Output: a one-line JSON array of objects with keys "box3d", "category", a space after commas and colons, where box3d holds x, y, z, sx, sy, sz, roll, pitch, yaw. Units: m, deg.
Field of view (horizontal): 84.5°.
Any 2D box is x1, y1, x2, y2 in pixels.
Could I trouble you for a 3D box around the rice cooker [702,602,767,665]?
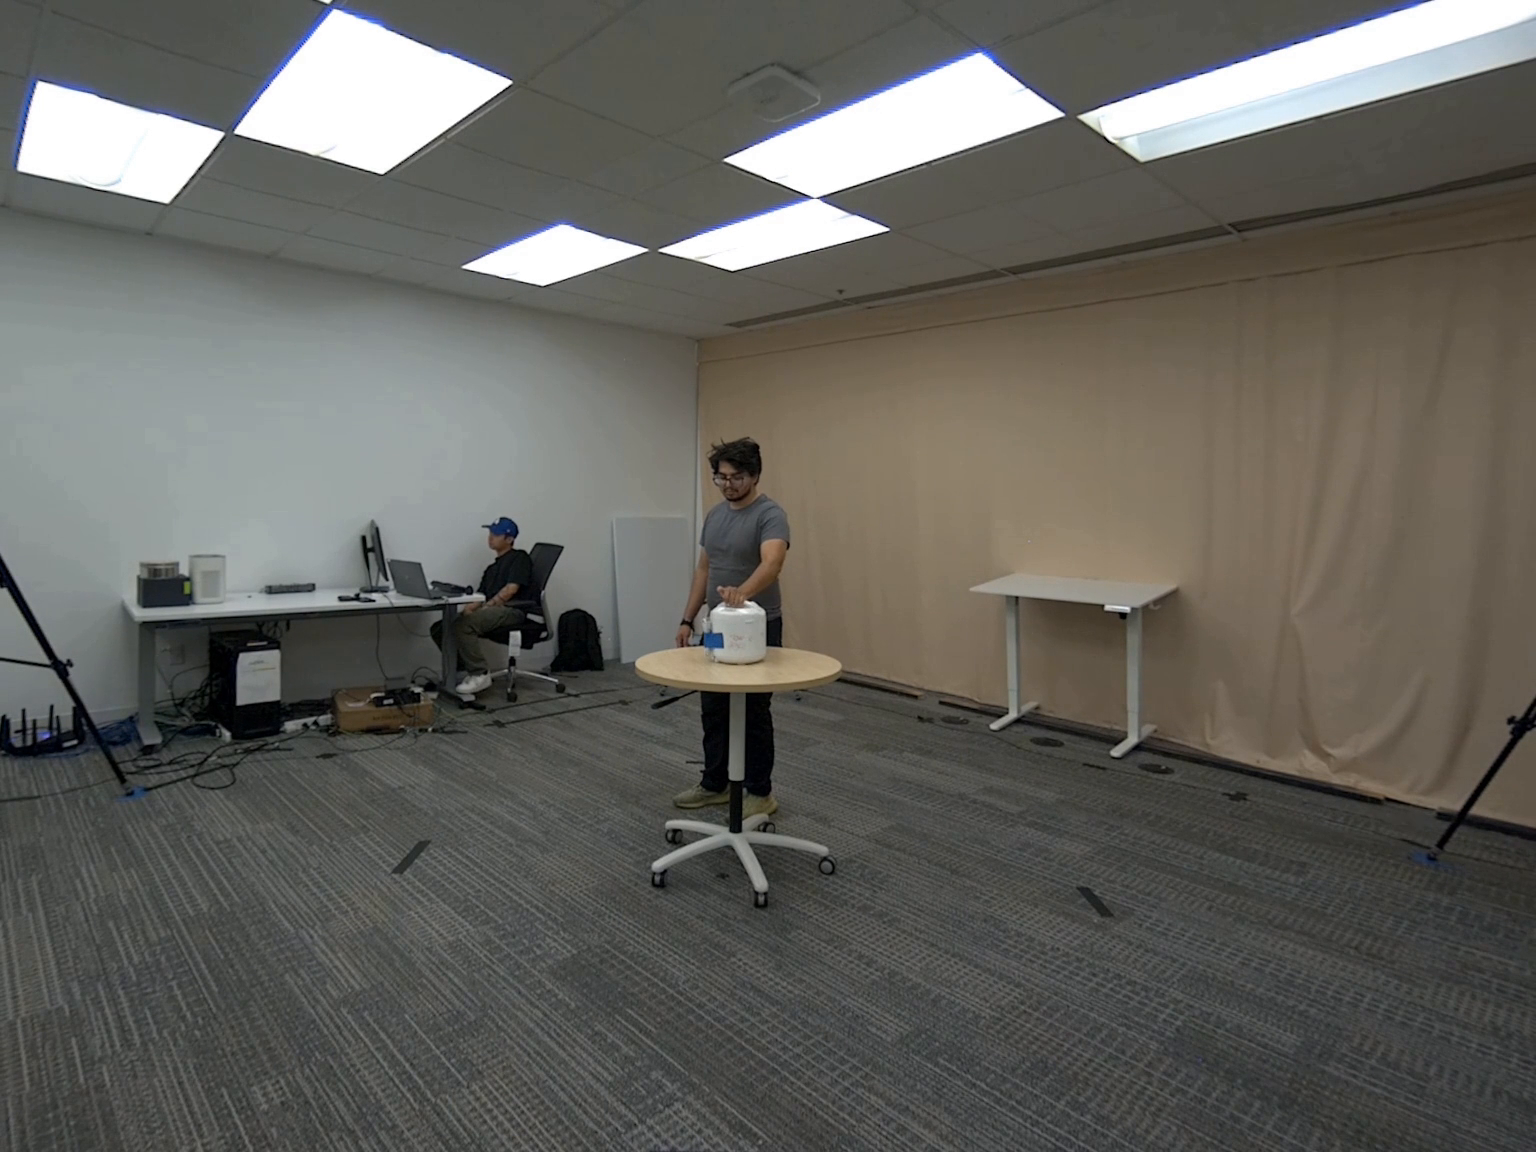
[{"box3d": [-0.125, 0.205, 3.176, 0.225, 0.232, 0.213, 3, 4, 29], "category": "rice cooker"}]
